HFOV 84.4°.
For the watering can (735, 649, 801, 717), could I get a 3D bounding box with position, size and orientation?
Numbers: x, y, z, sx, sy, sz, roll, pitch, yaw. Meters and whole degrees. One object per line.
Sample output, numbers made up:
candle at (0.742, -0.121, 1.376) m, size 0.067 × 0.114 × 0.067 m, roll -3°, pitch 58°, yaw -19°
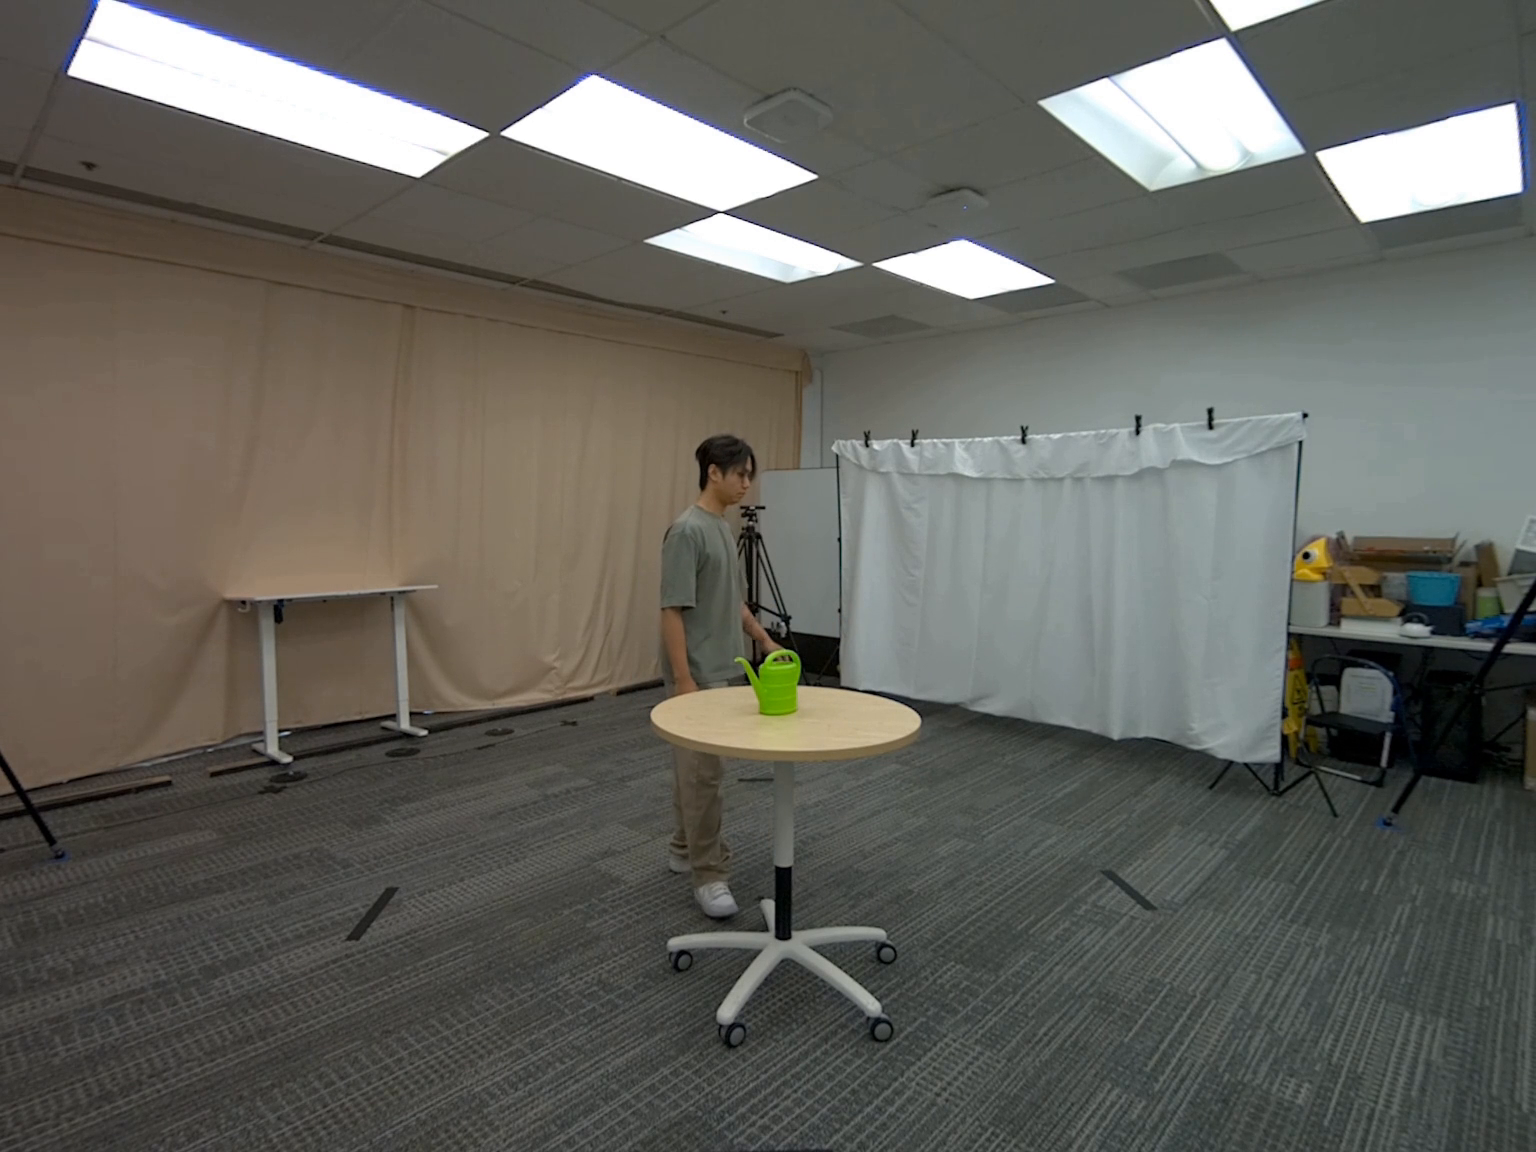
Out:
watering can at (0.000, 0.307, 2.416) m, size 0.270 × 0.177 × 0.101 m, roll -1°, pitch 1°, yaw -34°
